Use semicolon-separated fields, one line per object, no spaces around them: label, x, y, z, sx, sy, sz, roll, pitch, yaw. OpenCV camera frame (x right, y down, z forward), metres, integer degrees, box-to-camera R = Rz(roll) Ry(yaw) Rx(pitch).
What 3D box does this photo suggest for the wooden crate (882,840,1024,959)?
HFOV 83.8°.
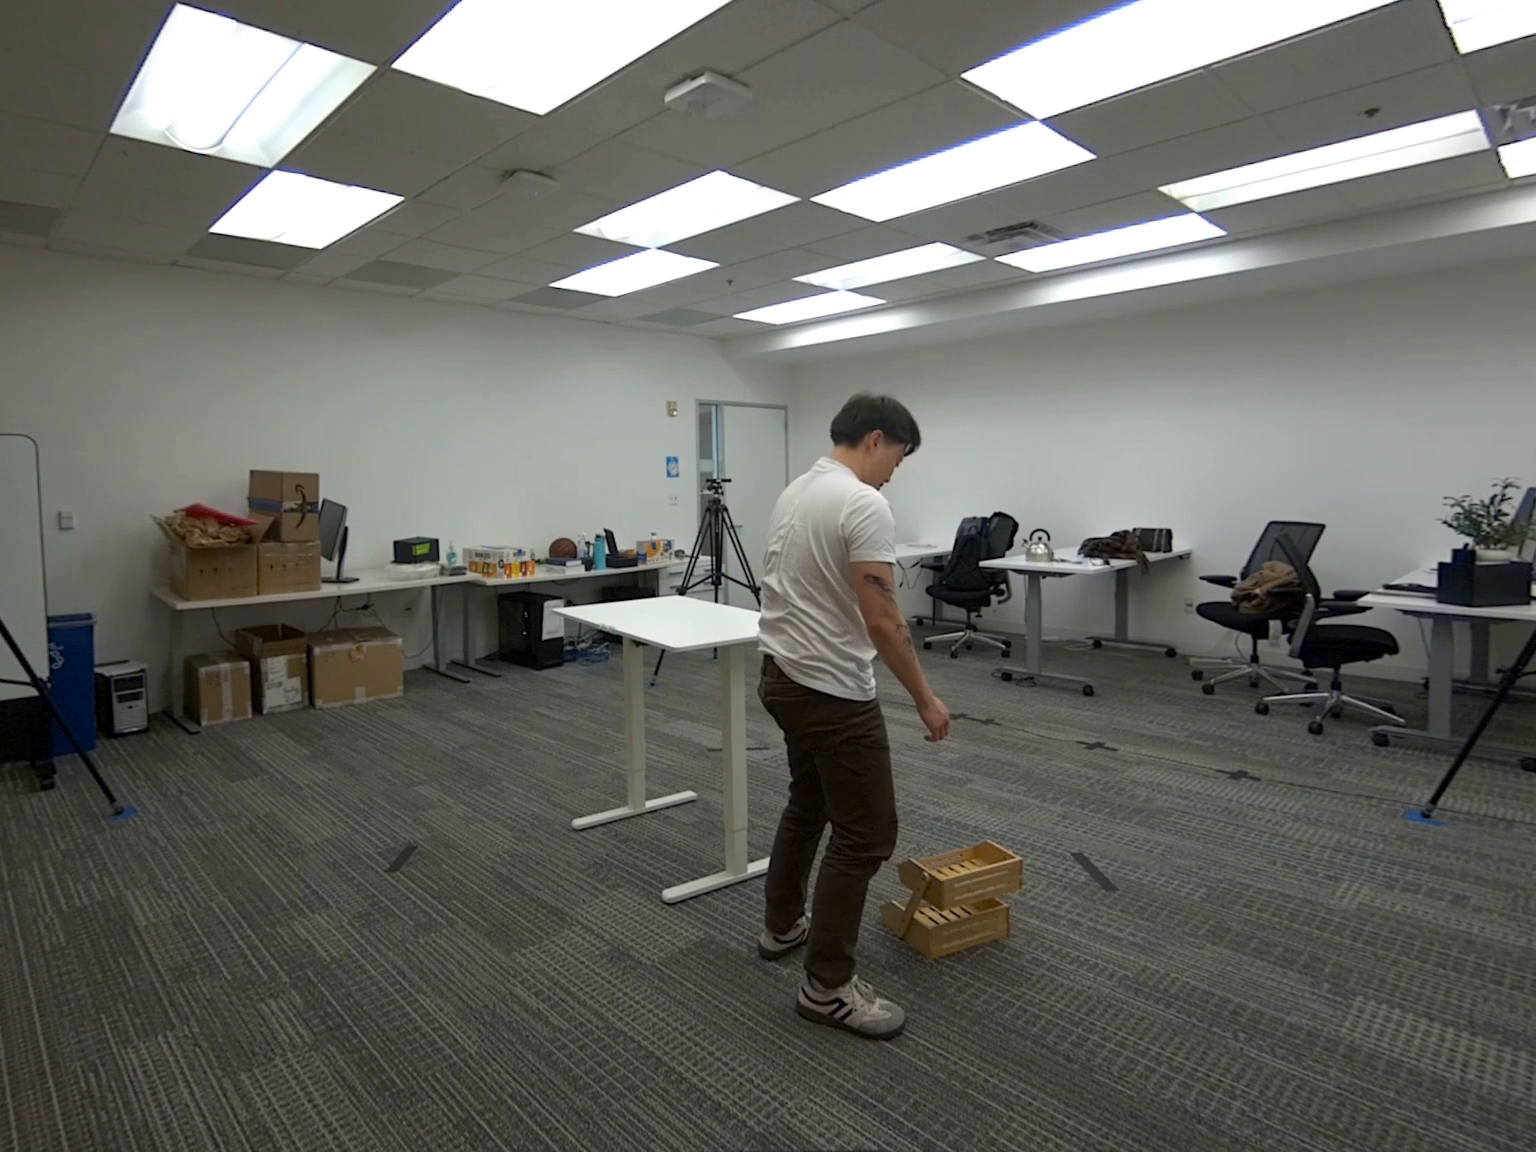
wooden crate;0.559;0.956;2.608;0.317;0.272;0.310;-4;7;-27
